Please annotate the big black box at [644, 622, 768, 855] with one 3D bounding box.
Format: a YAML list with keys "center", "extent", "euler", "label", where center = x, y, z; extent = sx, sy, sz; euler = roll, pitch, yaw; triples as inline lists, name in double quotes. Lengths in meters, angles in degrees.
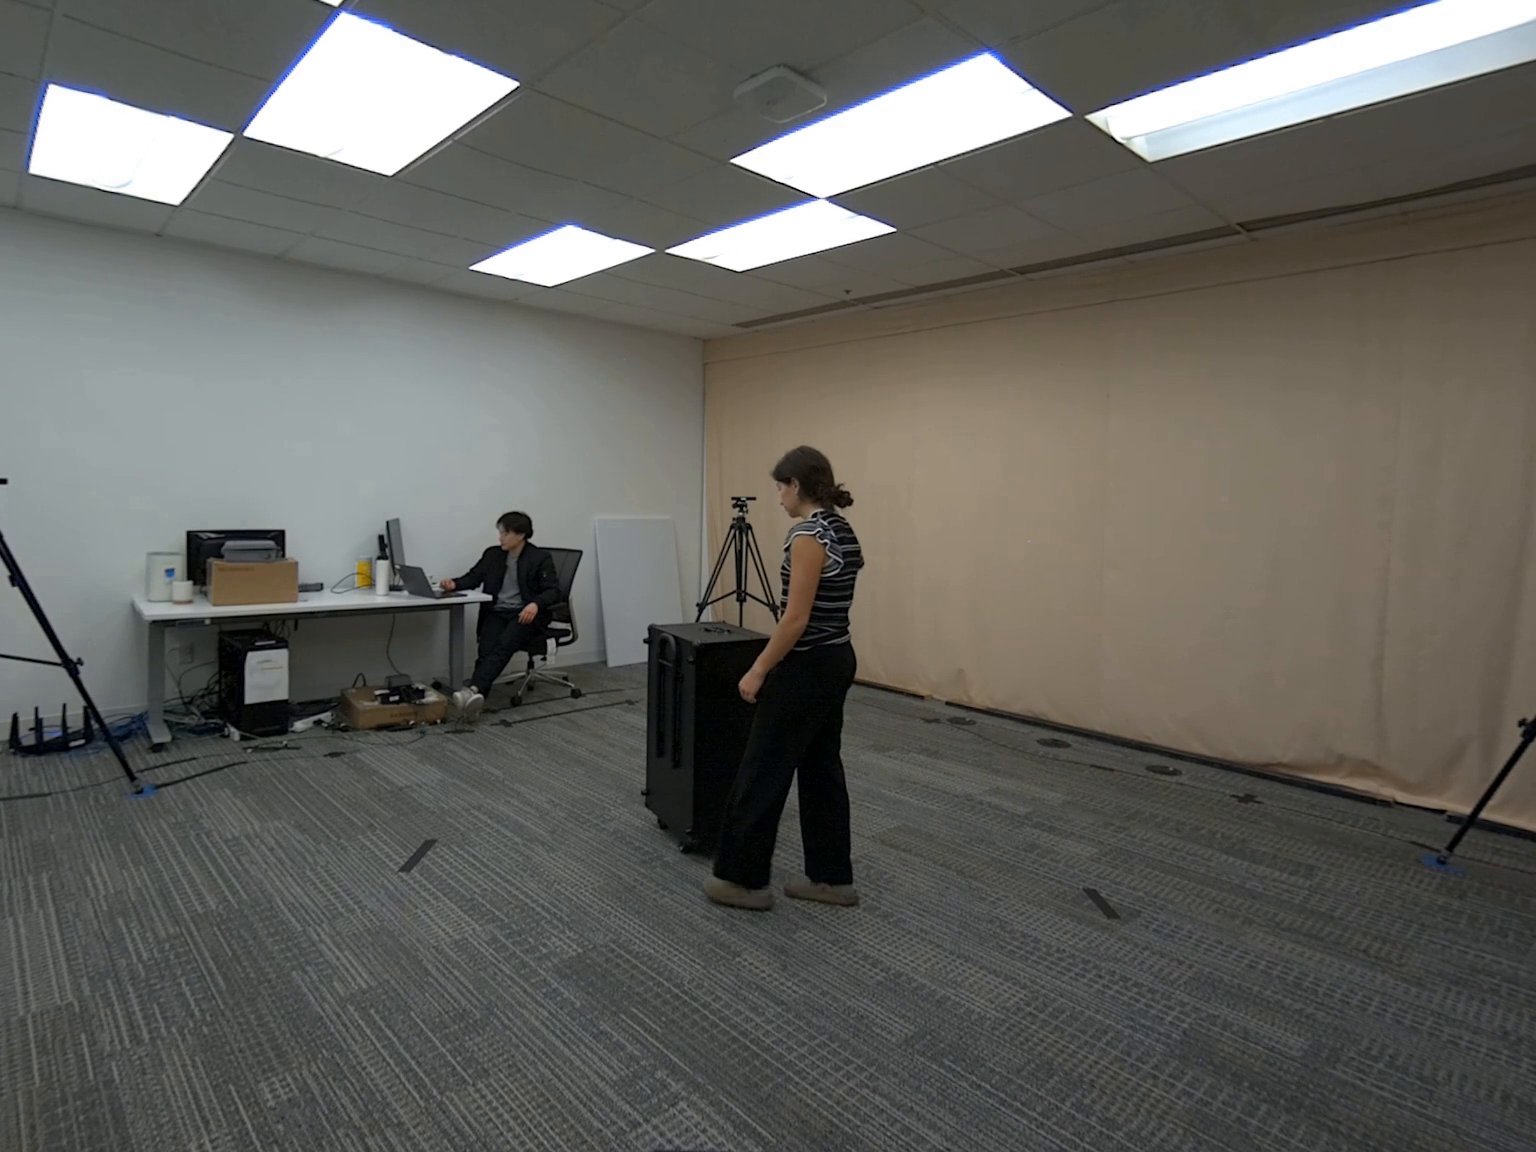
- center: [-0.256, 0.649, 3.433]
  extent: [0.389, 0.859, 0.532]
  euler: [-1, 4, -28]
  label: "big black box"
